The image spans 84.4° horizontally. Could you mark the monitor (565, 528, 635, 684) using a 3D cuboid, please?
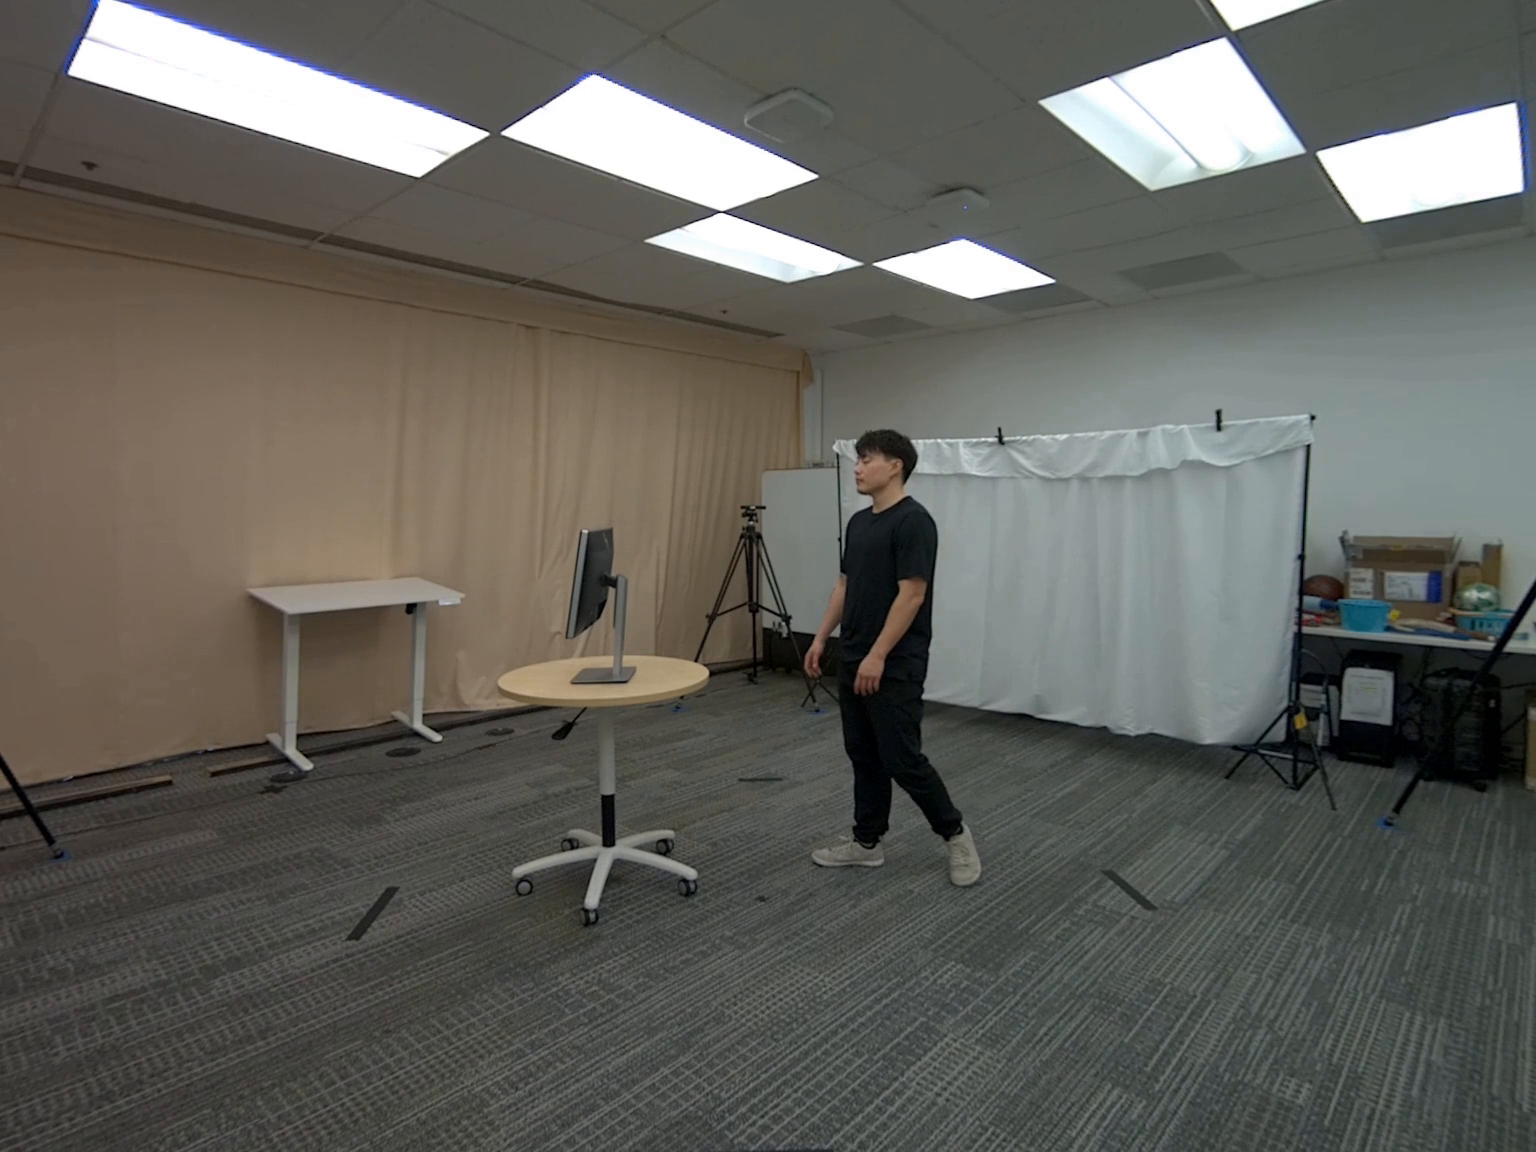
[{"bbox_3d":[-0.592,0.104,3.041,0.187,0.522,0.541,-2,3,-3],"label":"monitor"}]
